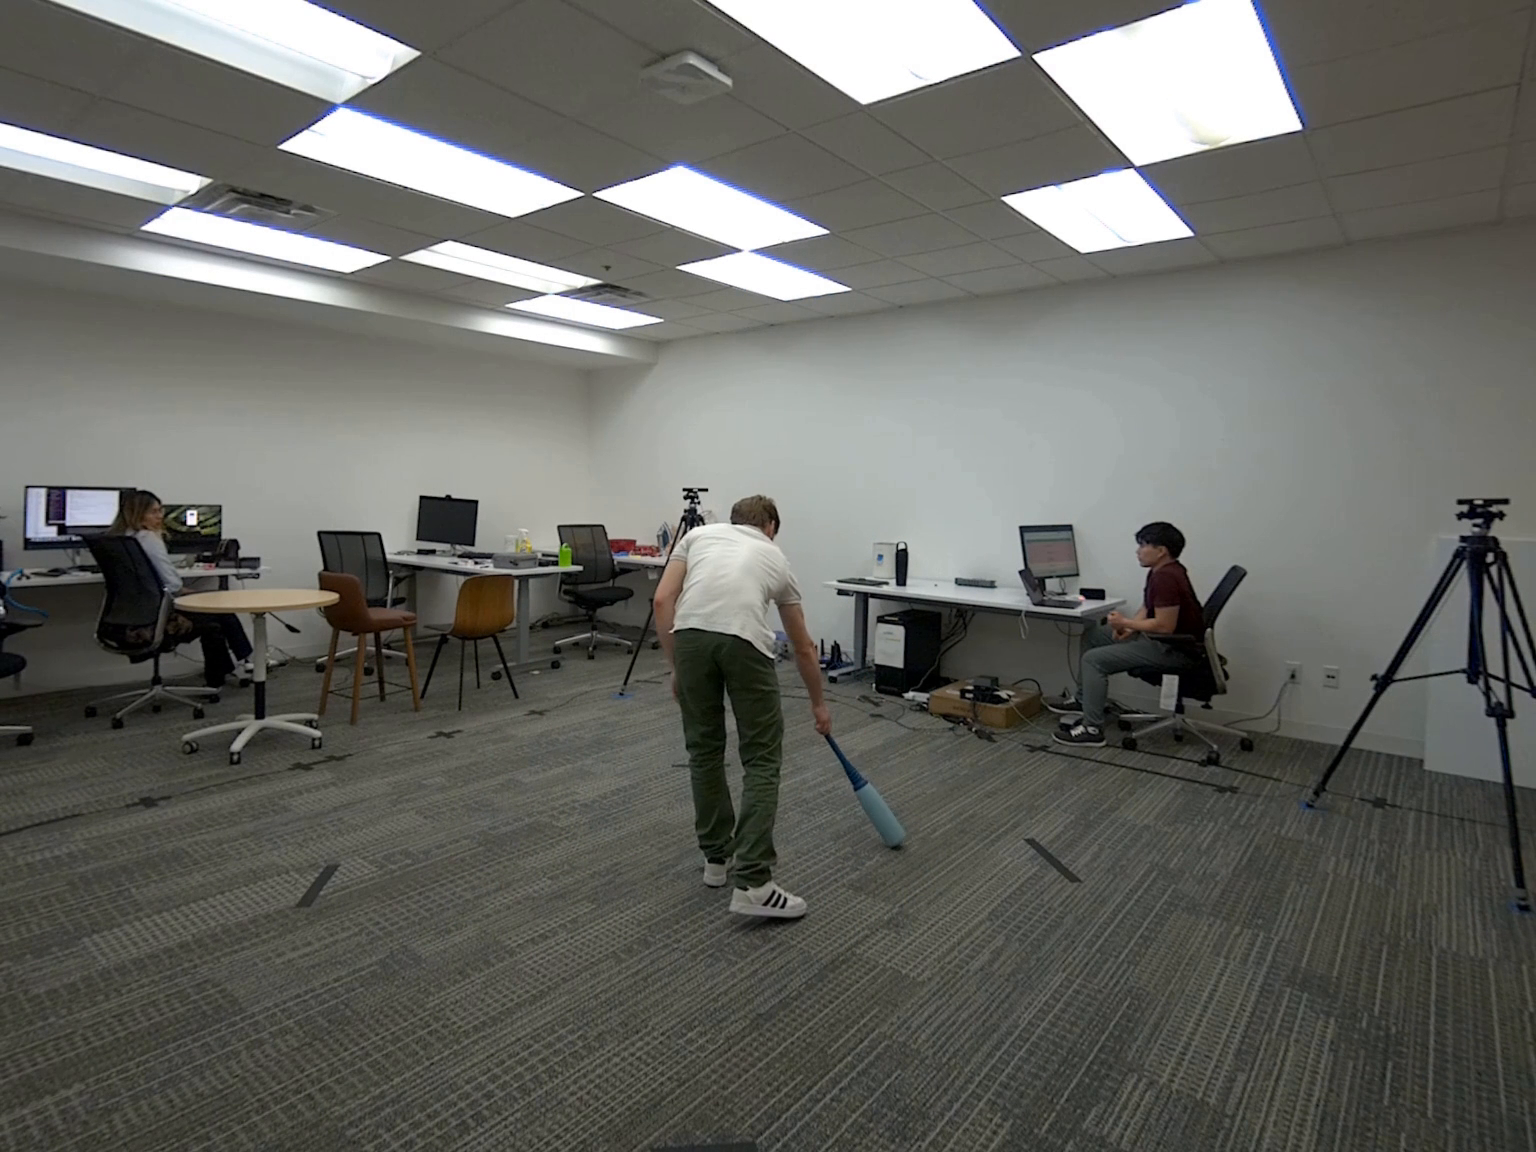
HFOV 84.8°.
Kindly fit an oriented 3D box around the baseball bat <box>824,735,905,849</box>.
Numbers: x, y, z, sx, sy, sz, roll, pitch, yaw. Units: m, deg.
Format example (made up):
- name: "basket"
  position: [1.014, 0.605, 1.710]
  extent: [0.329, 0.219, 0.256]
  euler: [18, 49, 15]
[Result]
- name: "baseball bat"
  position: [0.353, 0.826, 3.392]
  extent: [0.089, 0.552, 0.088]
  euler: [-33, -12, -9]
